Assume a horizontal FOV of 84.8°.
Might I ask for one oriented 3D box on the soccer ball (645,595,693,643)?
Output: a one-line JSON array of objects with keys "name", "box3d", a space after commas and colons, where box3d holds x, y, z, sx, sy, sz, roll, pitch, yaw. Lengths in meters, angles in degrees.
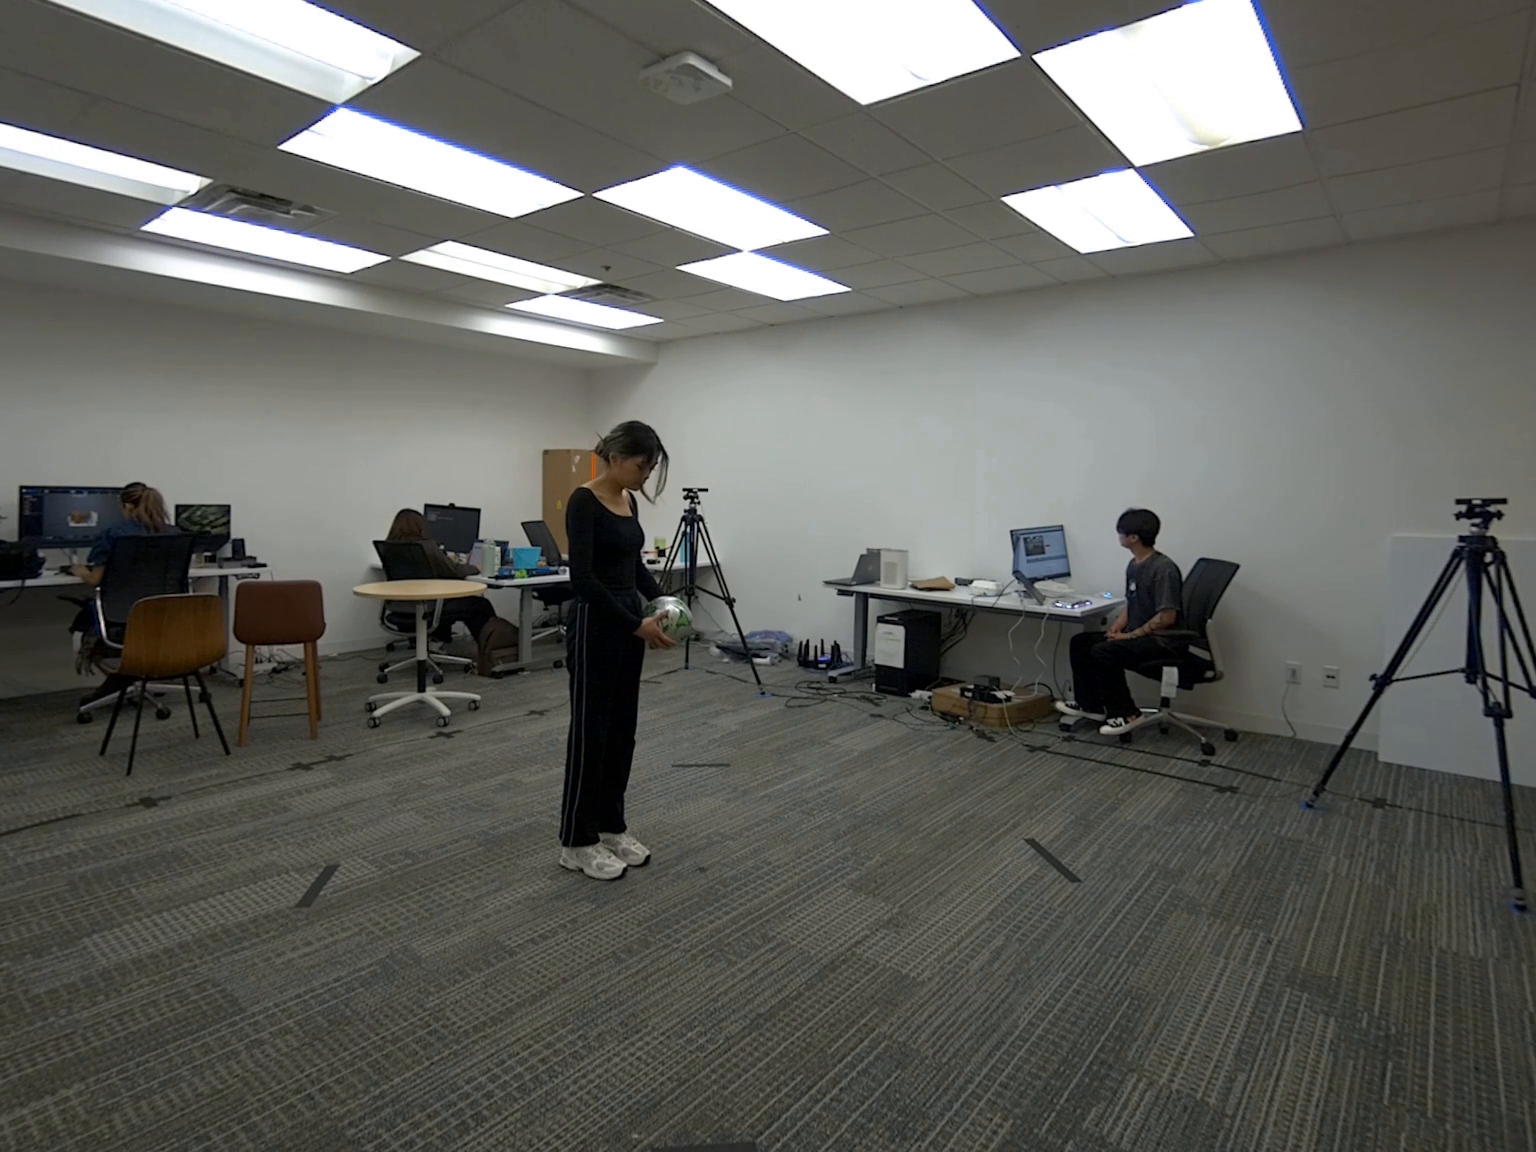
[{"name": "soccer ball", "box3d": [-0.380, 0.167, 3.058, 0.187, 0.187, 0.188, 1, 4, -2]}]
